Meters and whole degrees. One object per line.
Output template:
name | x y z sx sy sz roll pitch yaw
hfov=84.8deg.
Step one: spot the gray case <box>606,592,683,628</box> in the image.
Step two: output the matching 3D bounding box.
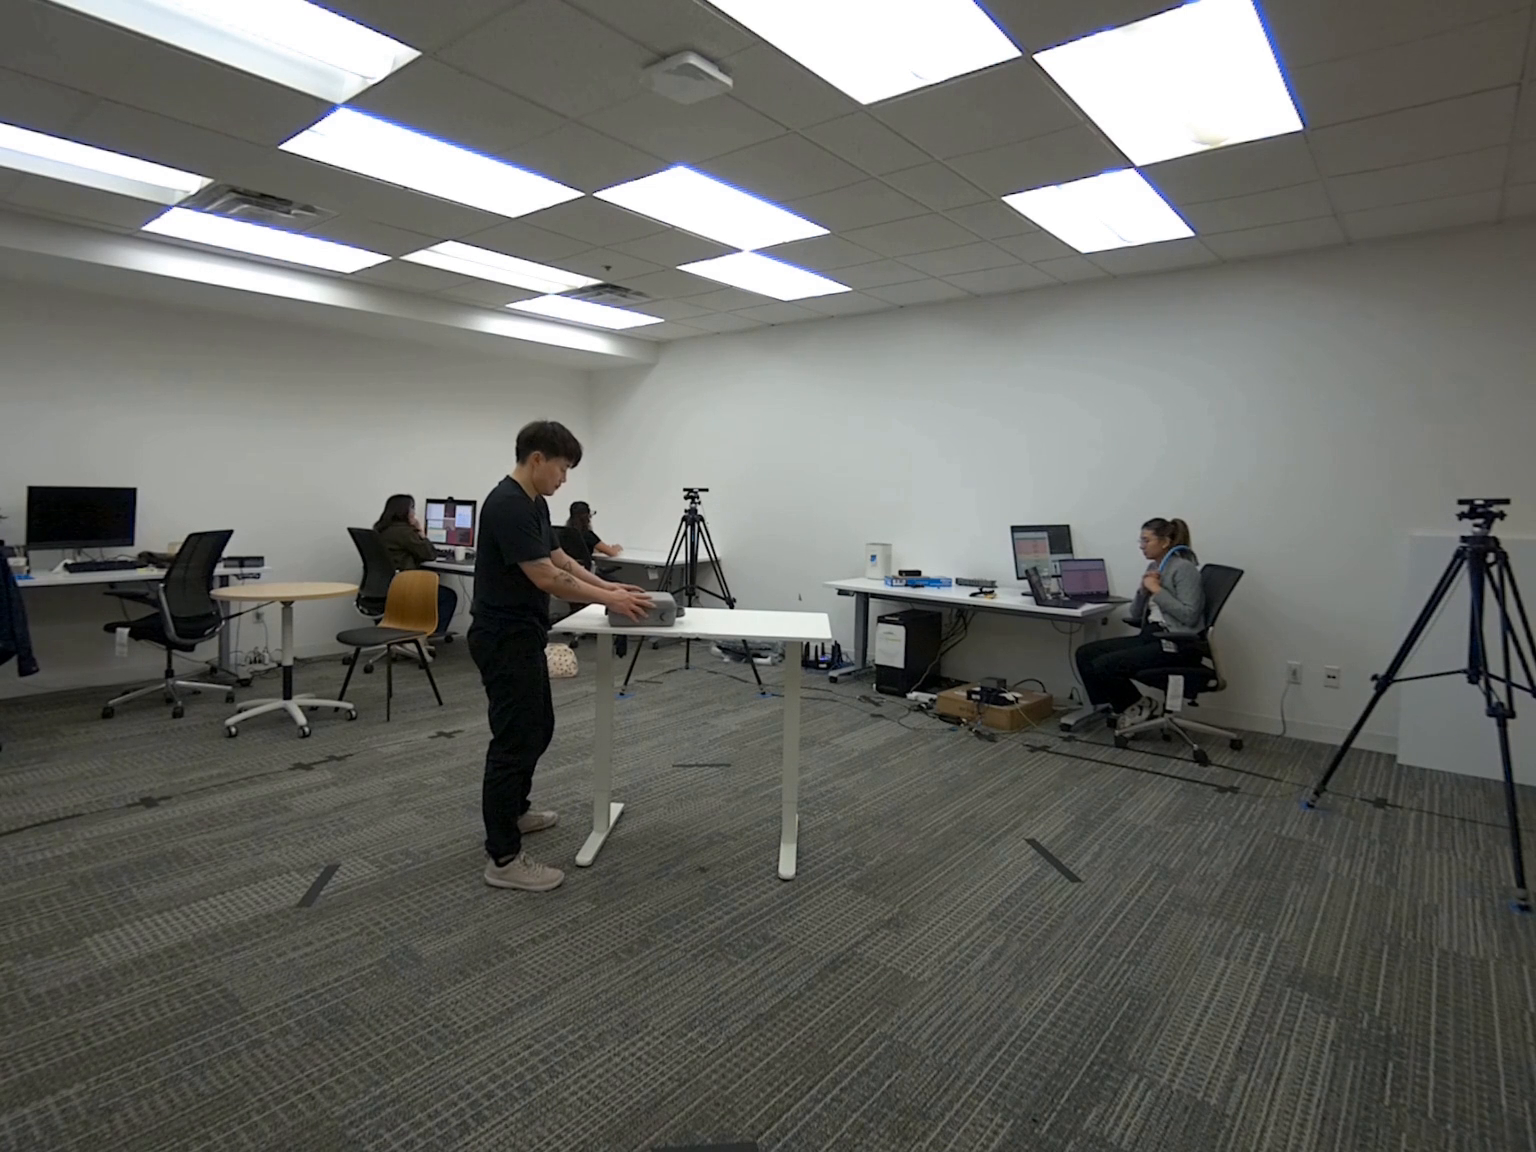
gray case | -0.488 0.124 3.221 0.258 0.104 0.260 0 5 -9
